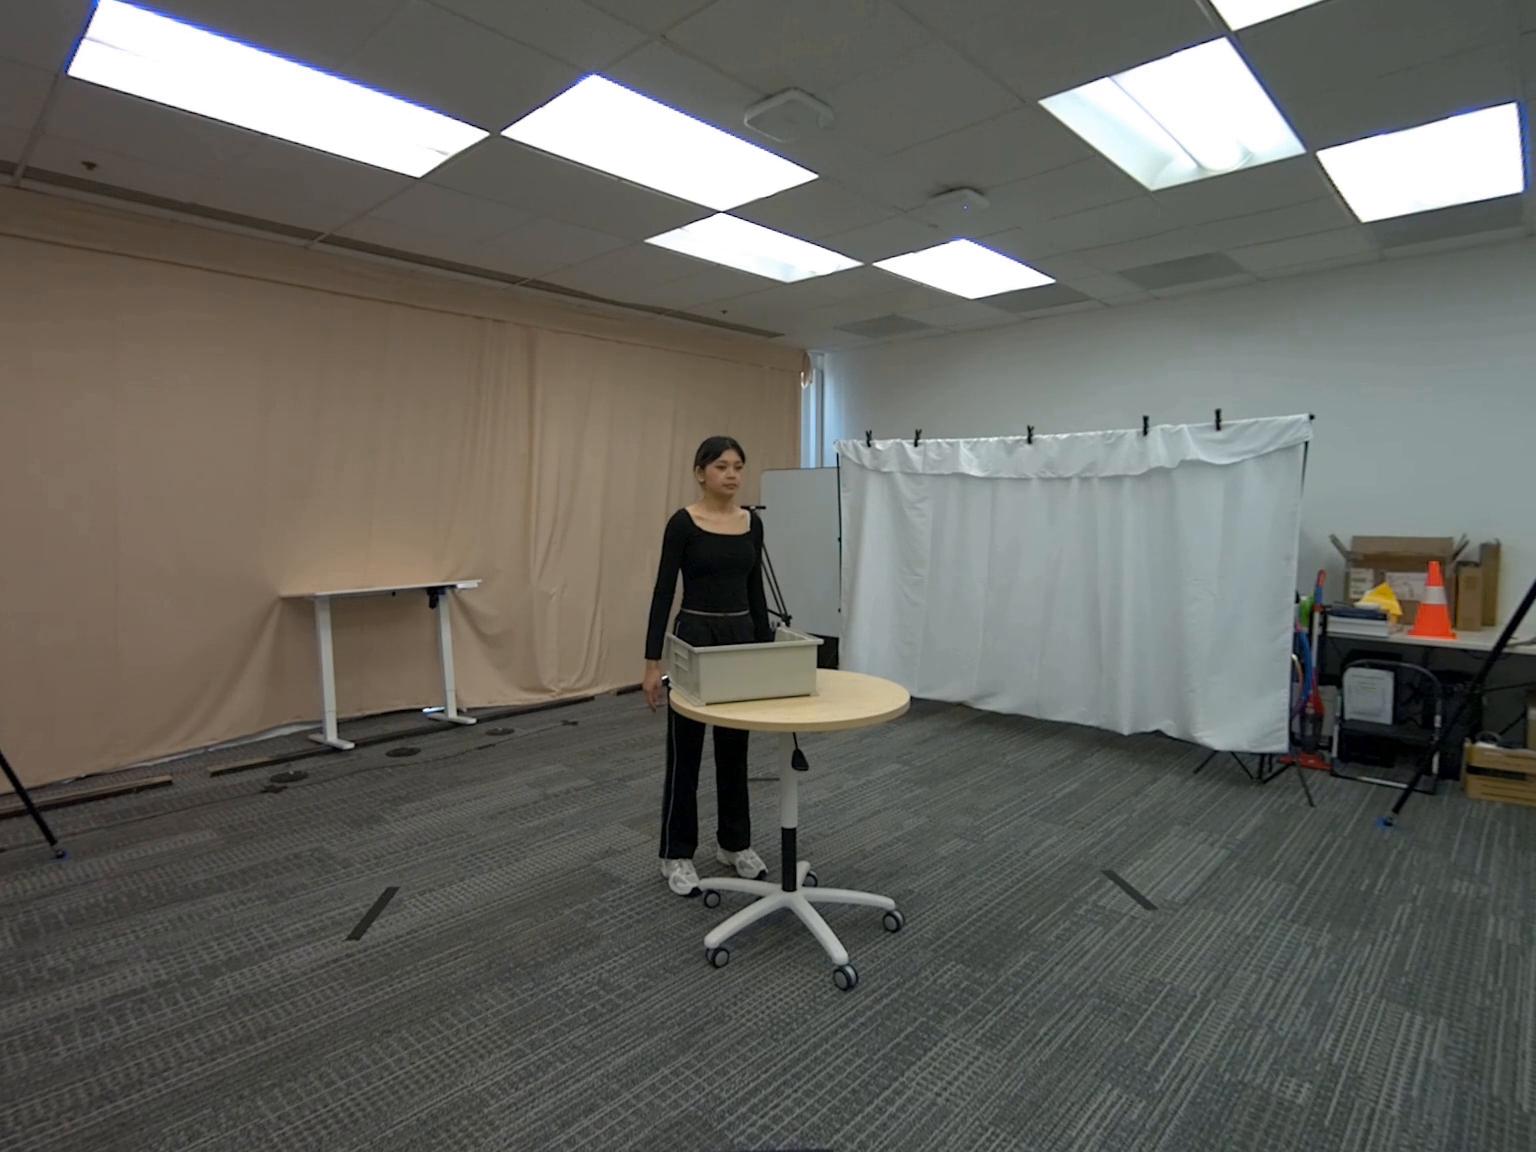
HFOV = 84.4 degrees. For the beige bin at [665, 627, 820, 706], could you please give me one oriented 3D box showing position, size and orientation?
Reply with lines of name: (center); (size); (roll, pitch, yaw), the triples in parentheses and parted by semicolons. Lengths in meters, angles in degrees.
beige bin: (-0.091, 0.281, 2.753); (0.414, 0.188, 0.386); (-2, 6, -20)
